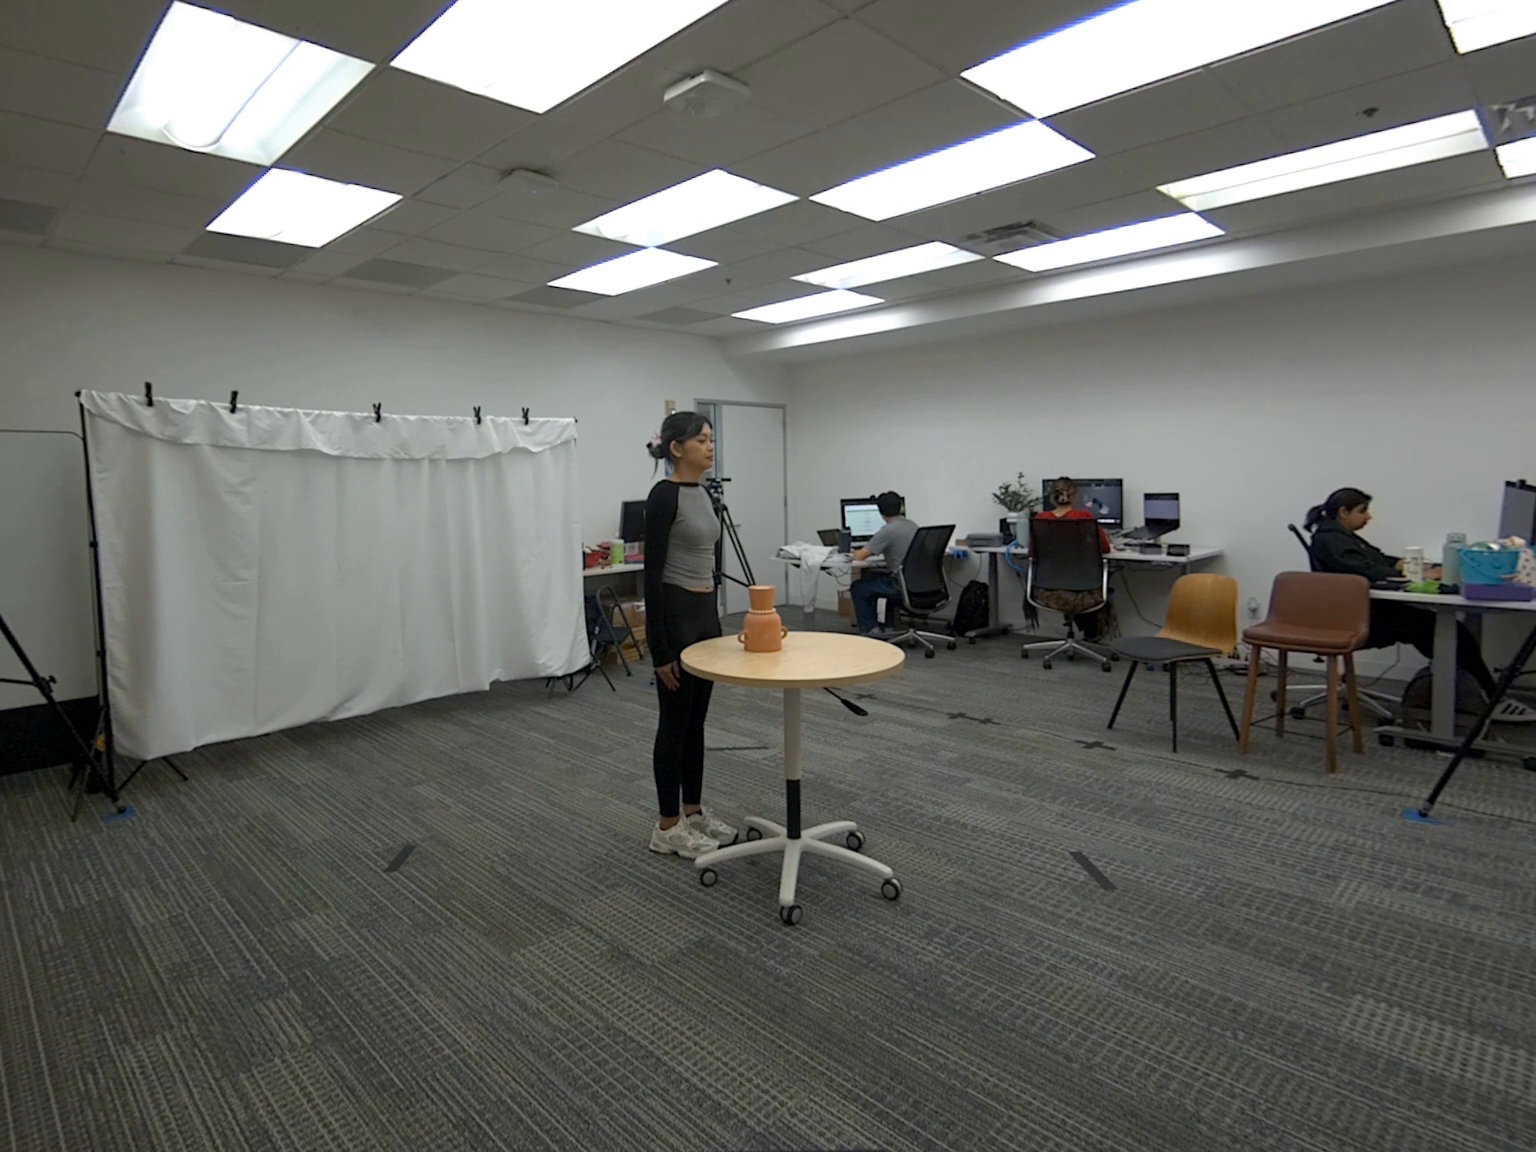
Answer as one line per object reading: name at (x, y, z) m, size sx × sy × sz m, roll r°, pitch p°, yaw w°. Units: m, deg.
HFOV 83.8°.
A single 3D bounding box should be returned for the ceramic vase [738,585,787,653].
ceramic vase at (-0.017, 0.149, 3.014) m, size 0.137 × 0.219 × 0.156 m, roll 0°, pitch 4°, yaw 23°
